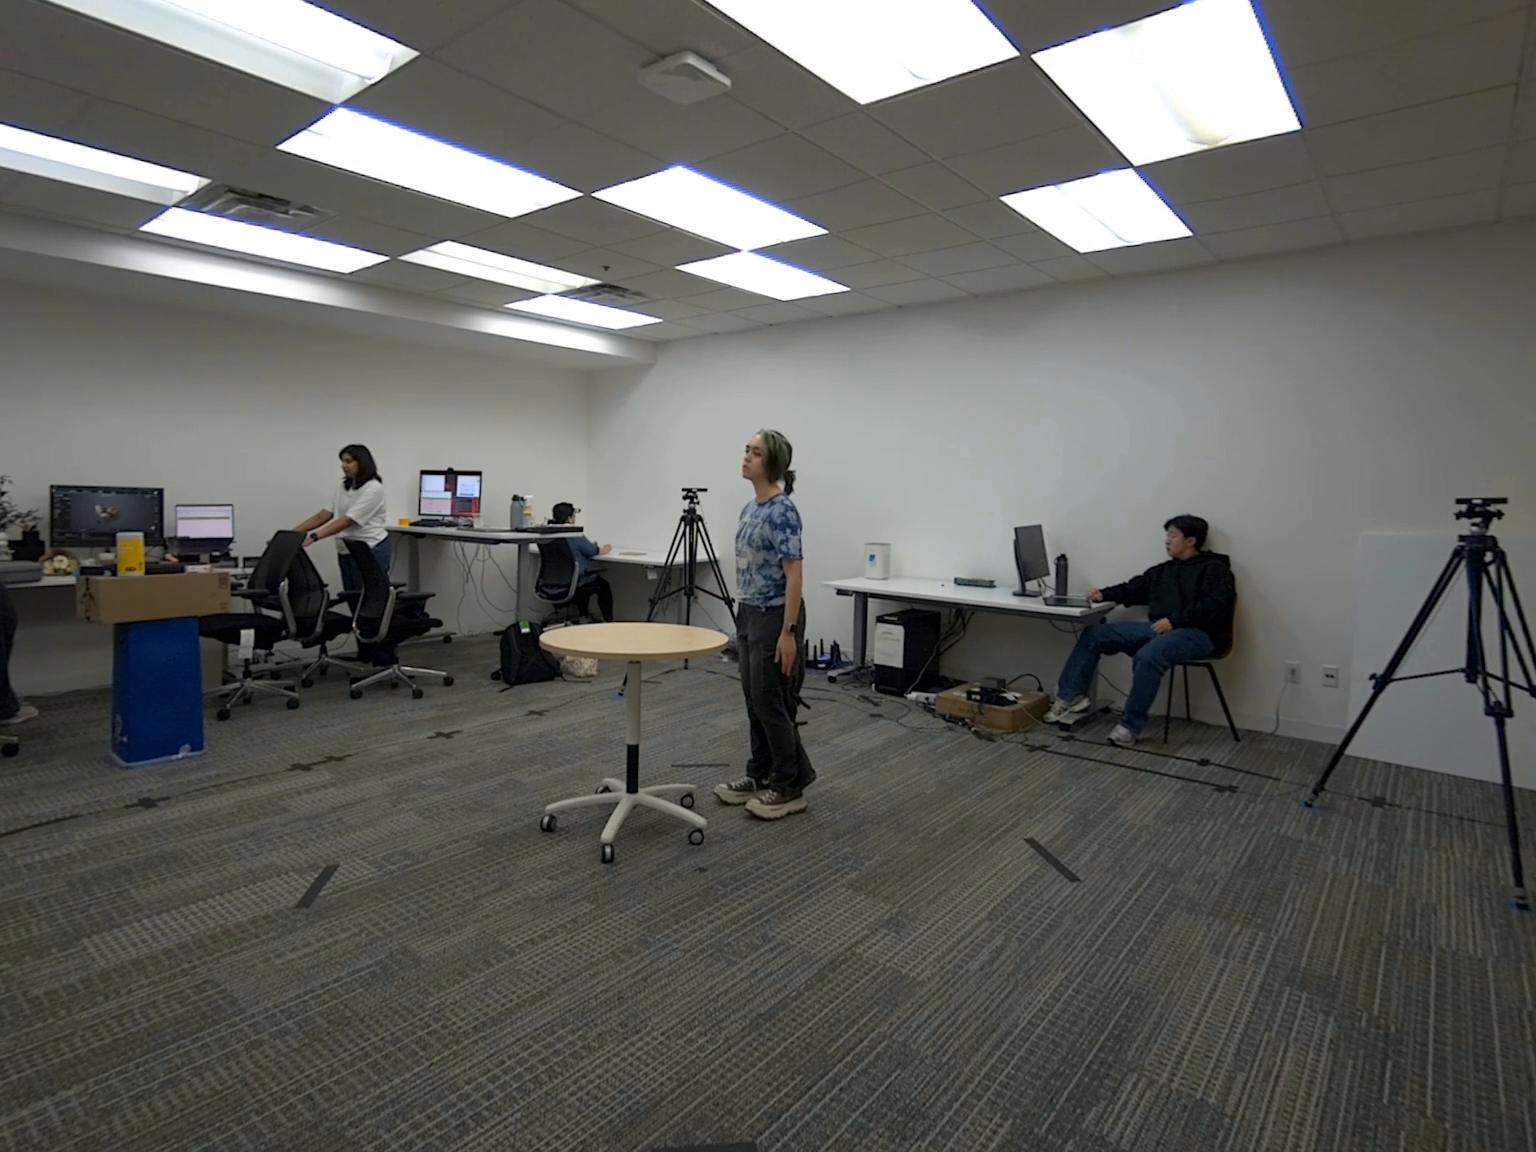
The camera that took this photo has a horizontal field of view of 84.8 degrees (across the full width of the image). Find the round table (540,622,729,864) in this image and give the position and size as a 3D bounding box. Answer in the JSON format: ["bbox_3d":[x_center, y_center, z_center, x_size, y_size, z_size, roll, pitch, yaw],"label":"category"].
[{"bbox_3d":[-0.566,0.639,3.478,0.763,0.792,0.767,1,4,-2],"label":"round table"}]
